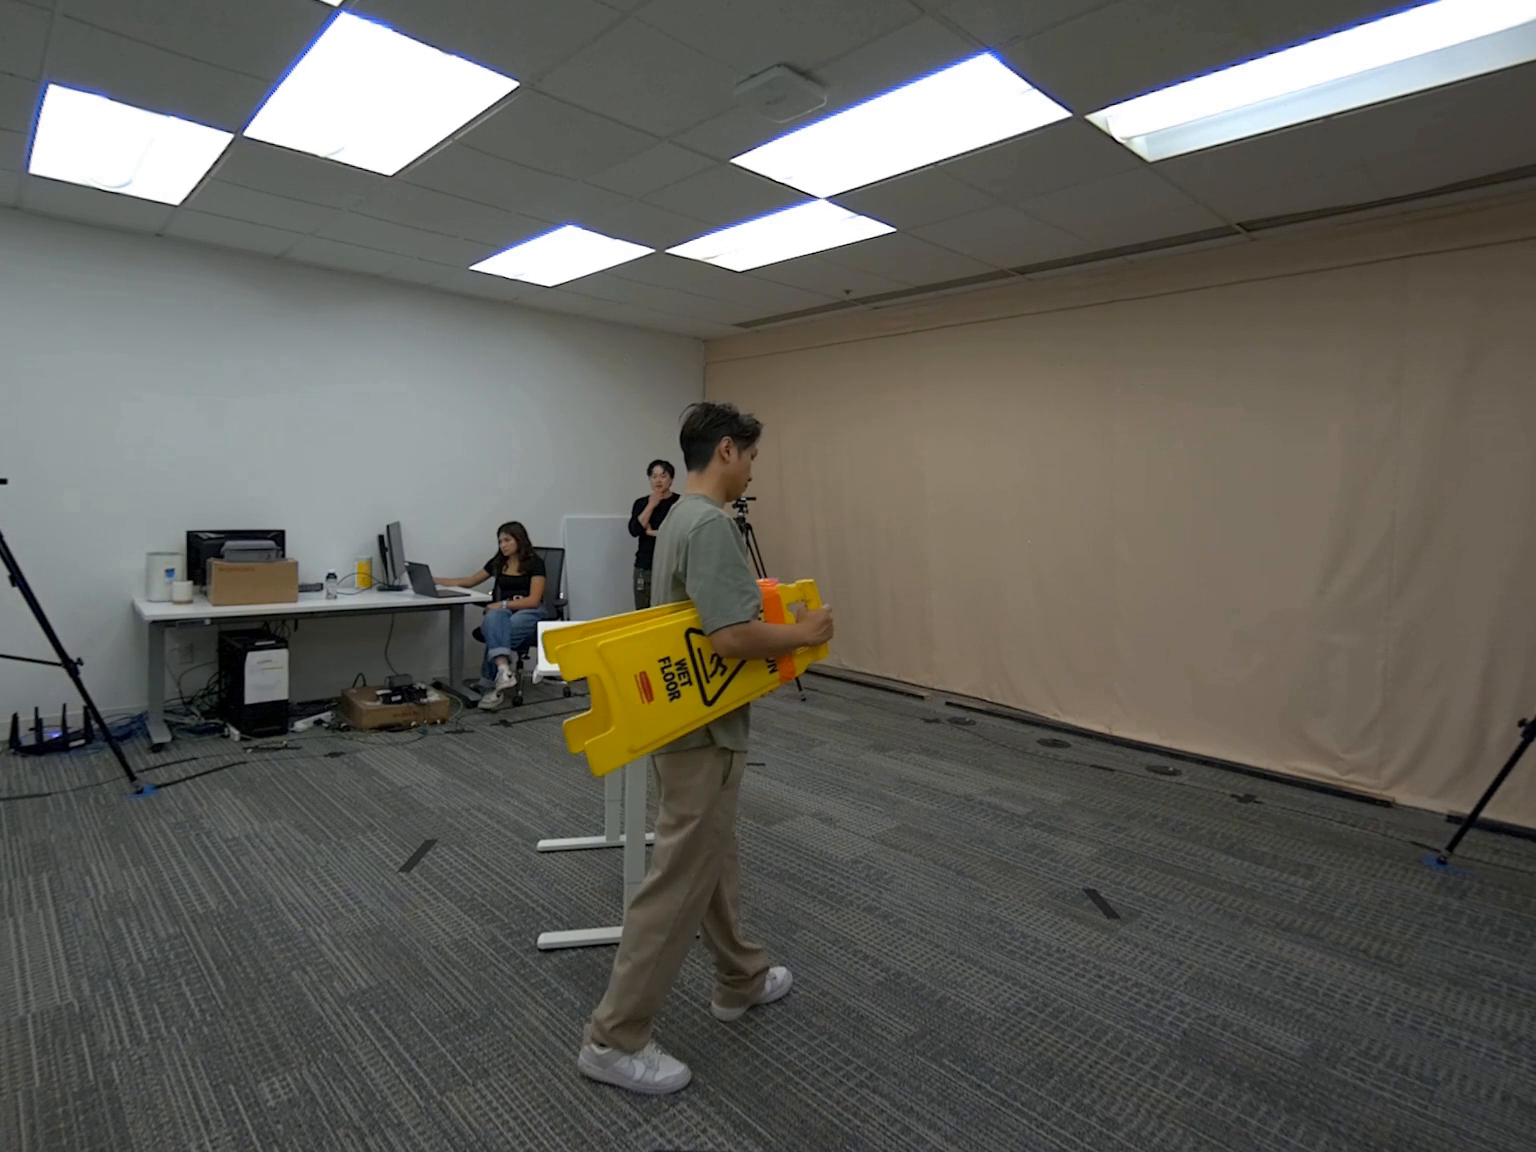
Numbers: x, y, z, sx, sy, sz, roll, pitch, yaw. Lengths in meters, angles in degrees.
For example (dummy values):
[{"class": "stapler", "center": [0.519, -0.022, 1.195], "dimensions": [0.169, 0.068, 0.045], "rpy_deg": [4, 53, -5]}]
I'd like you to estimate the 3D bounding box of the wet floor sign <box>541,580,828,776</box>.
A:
[{"class": "wet floor sign", "center": [-0.159, 0.194, 1.906], "dimensions": [0.638, 0.280, 0.295], "rpy_deg": [-16, 10, -24]}]
